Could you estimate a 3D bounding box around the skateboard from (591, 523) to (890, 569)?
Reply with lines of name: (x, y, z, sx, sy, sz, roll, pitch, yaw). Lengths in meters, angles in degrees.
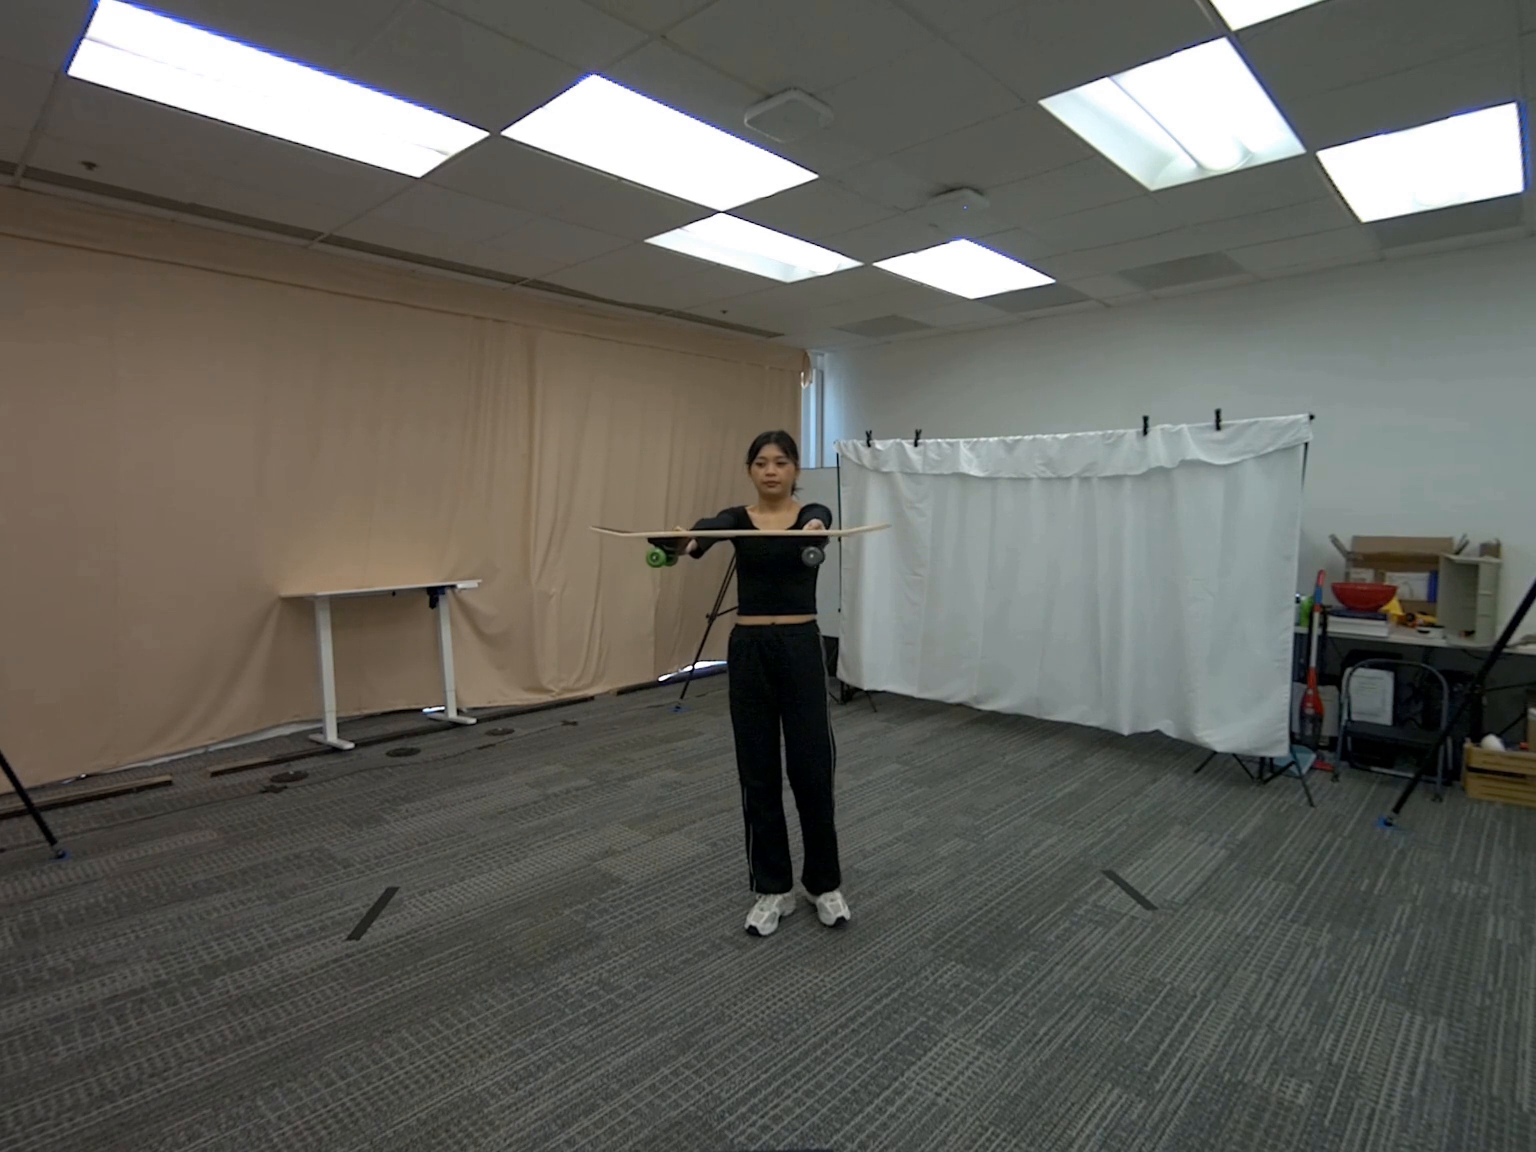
skateboard: (-0.094, -0.078, 2.220, 0.797, 0.110, 0.191, 0, 5, 13)
